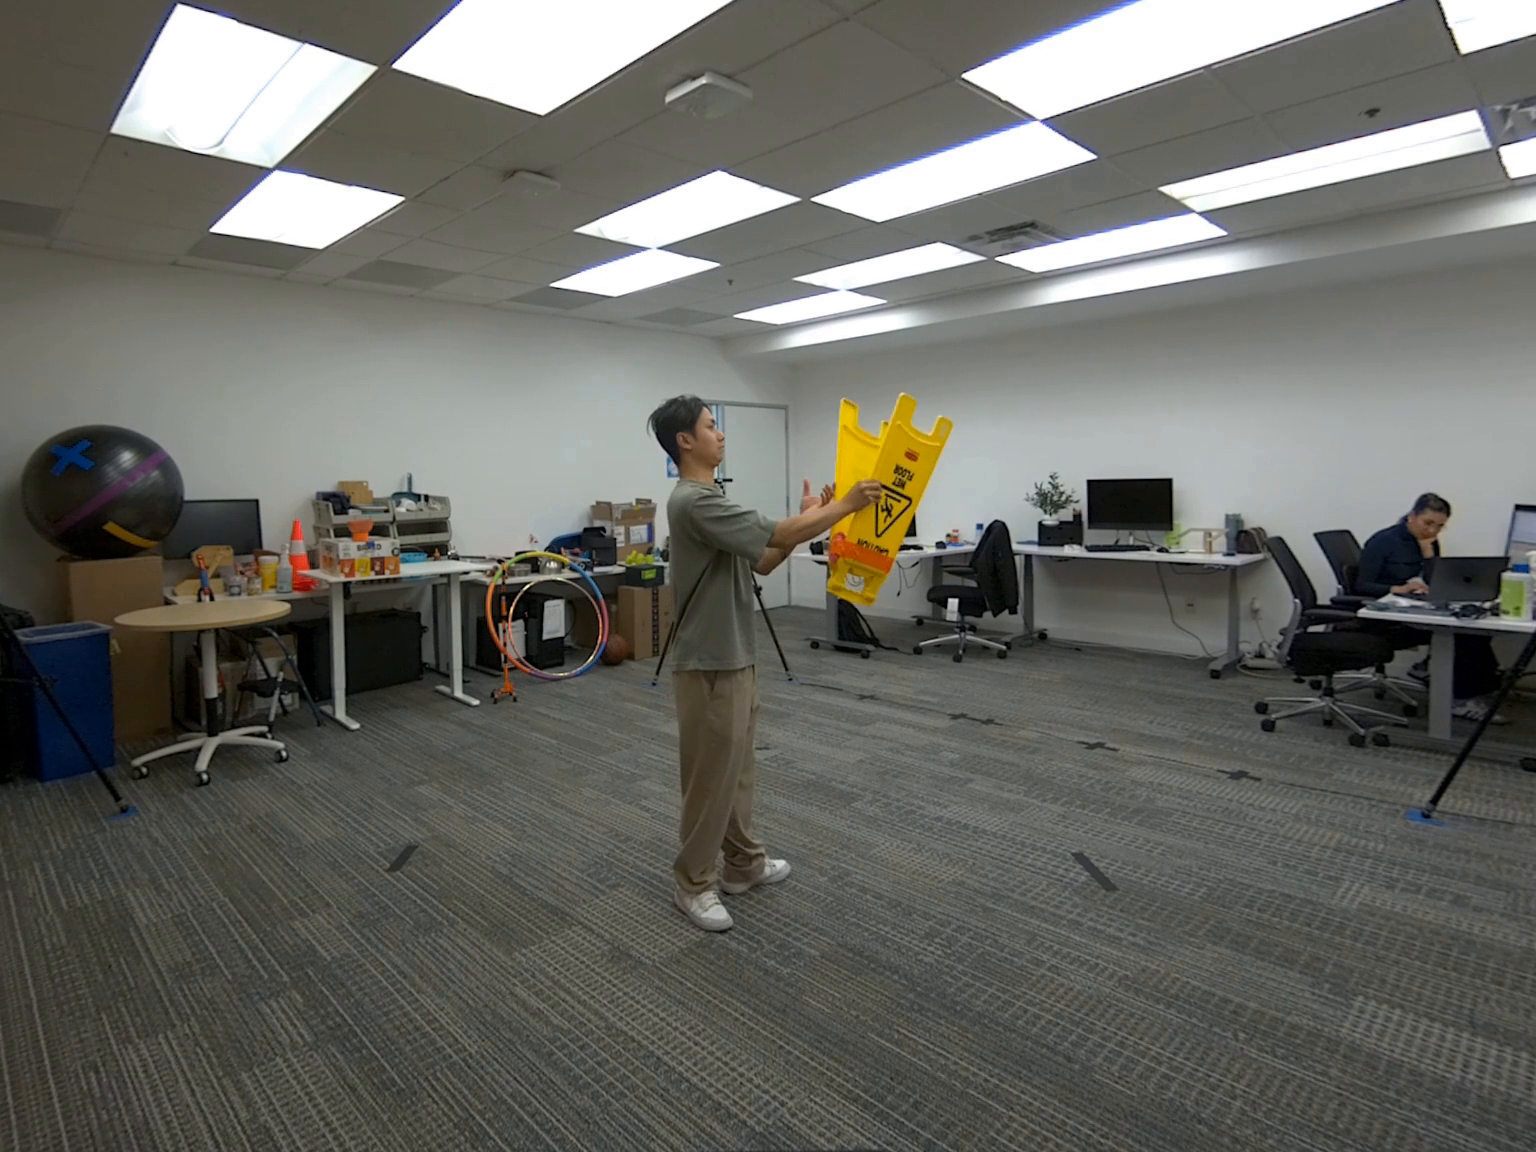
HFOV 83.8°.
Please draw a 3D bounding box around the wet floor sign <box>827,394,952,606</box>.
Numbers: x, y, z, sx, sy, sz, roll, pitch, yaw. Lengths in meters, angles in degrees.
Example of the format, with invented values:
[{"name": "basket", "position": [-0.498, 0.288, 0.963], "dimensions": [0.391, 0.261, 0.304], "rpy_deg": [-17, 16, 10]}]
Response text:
[{"name": "wet floor sign", "position": [0.346, -0.232, 2.783], "dimensions": [0.272, 0.648, 0.299], "rpy_deg": [20, -7, -36]}]
